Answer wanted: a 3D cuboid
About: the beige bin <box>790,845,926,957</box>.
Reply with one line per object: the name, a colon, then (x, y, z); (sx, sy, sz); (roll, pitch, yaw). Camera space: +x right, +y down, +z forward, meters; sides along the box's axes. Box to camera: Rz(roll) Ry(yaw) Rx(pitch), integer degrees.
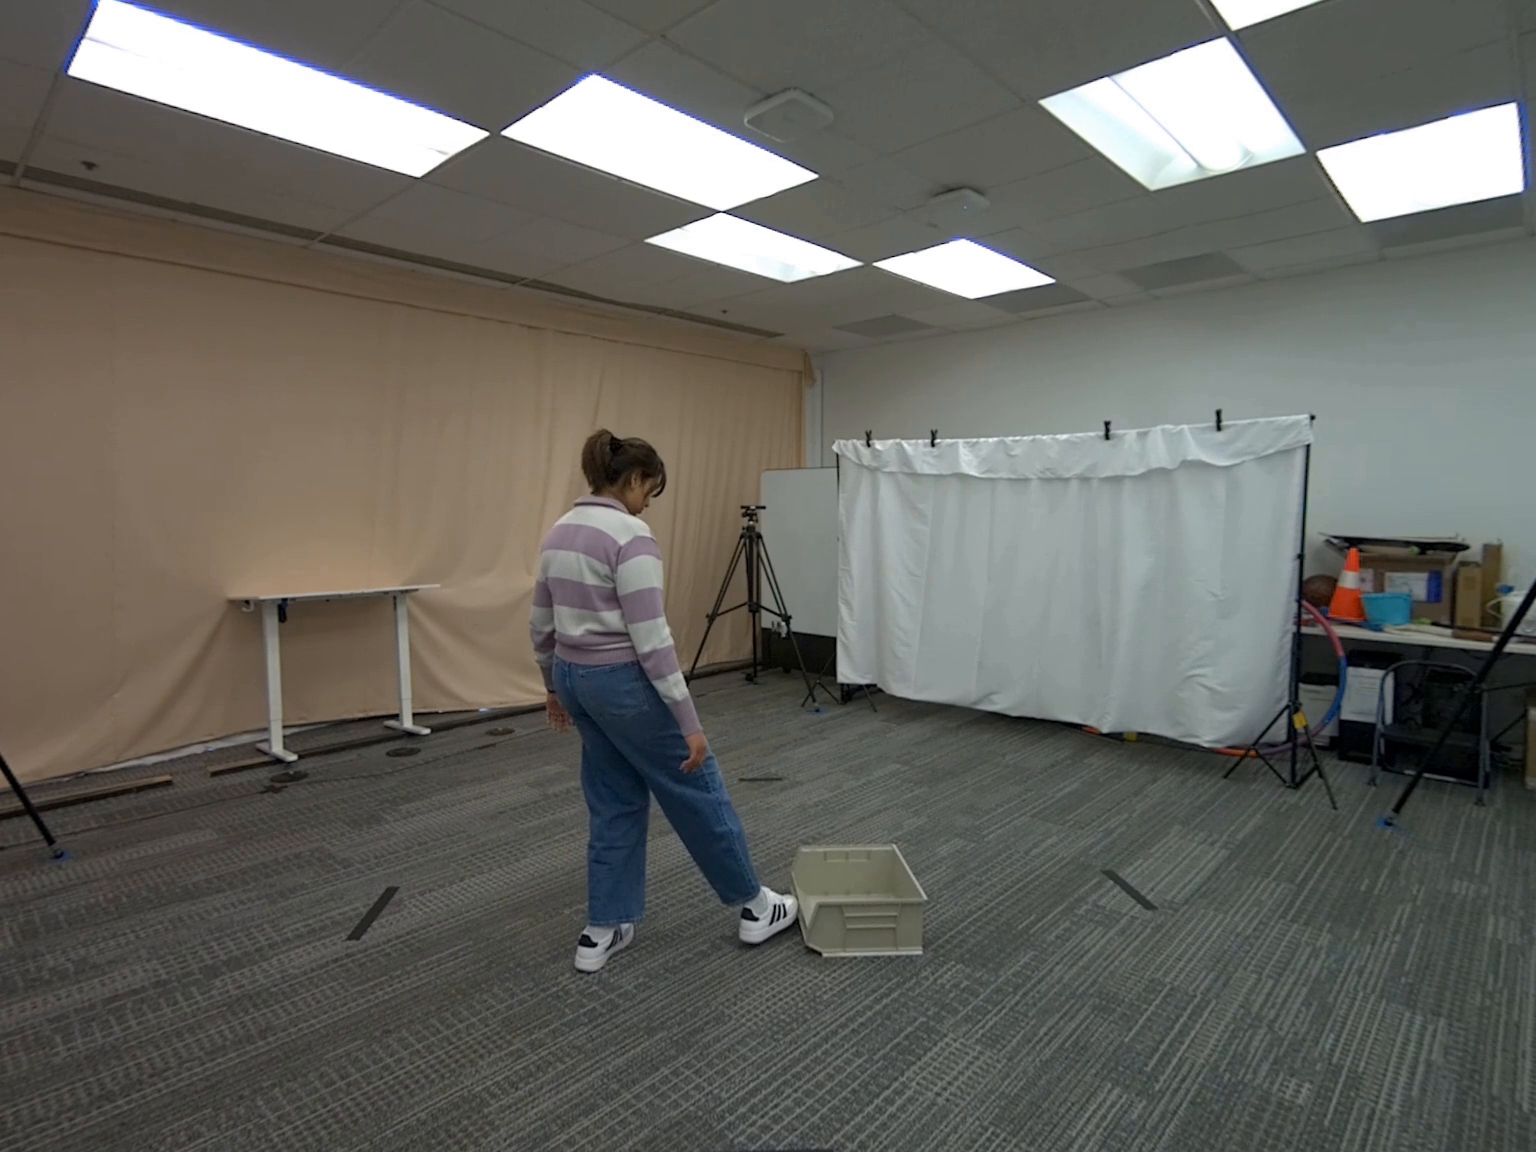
beige bin: (0.288, 1.071, 2.797); (0.376, 0.188, 0.425); (0, 4, -4)
